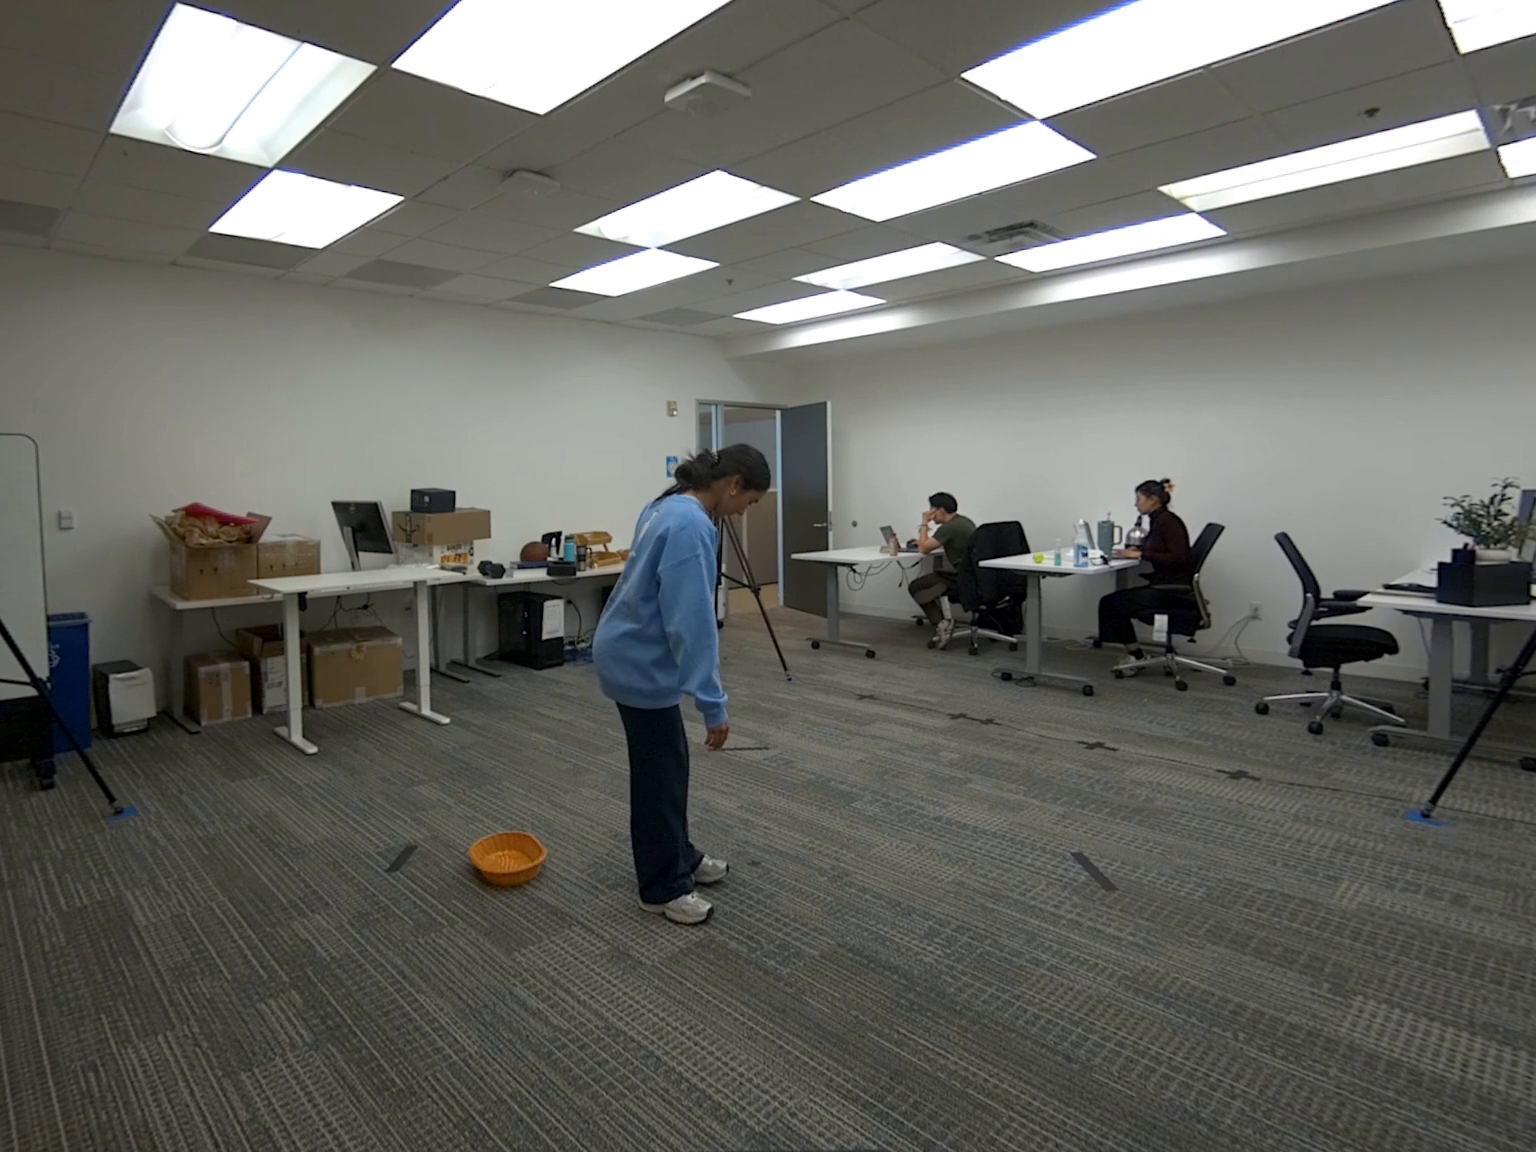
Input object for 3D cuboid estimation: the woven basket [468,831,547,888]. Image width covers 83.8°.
[{"bbox_3d":[-0.936,1.027,3.094,0.246,0.073,0.361,-7,9,-32],"label":"woven basket"}]
